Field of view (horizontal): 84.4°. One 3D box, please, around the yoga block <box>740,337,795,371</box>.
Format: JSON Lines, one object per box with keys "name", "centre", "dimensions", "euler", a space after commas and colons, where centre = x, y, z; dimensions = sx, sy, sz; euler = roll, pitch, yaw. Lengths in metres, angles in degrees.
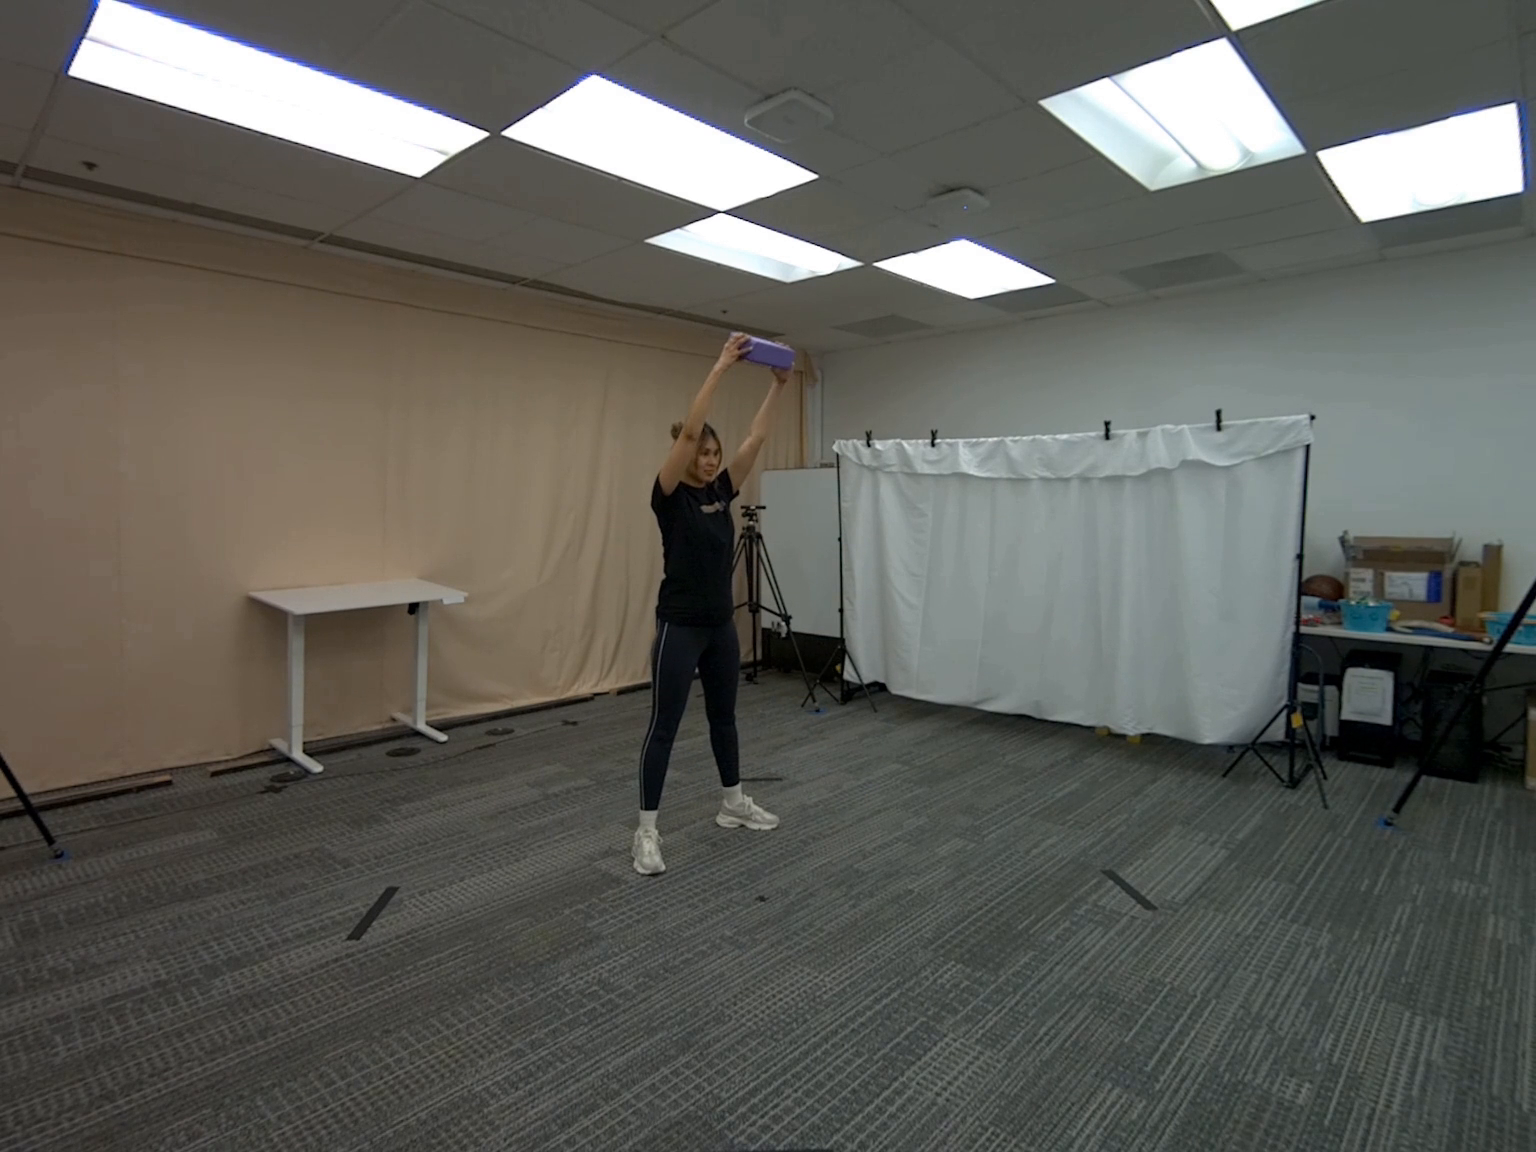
{"name": "yoga block", "centre": [-0.020, -0.845, 3.177], "dimensions": [0.222, 0.076, 0.154], "euler": [-1, 24, -44]}
